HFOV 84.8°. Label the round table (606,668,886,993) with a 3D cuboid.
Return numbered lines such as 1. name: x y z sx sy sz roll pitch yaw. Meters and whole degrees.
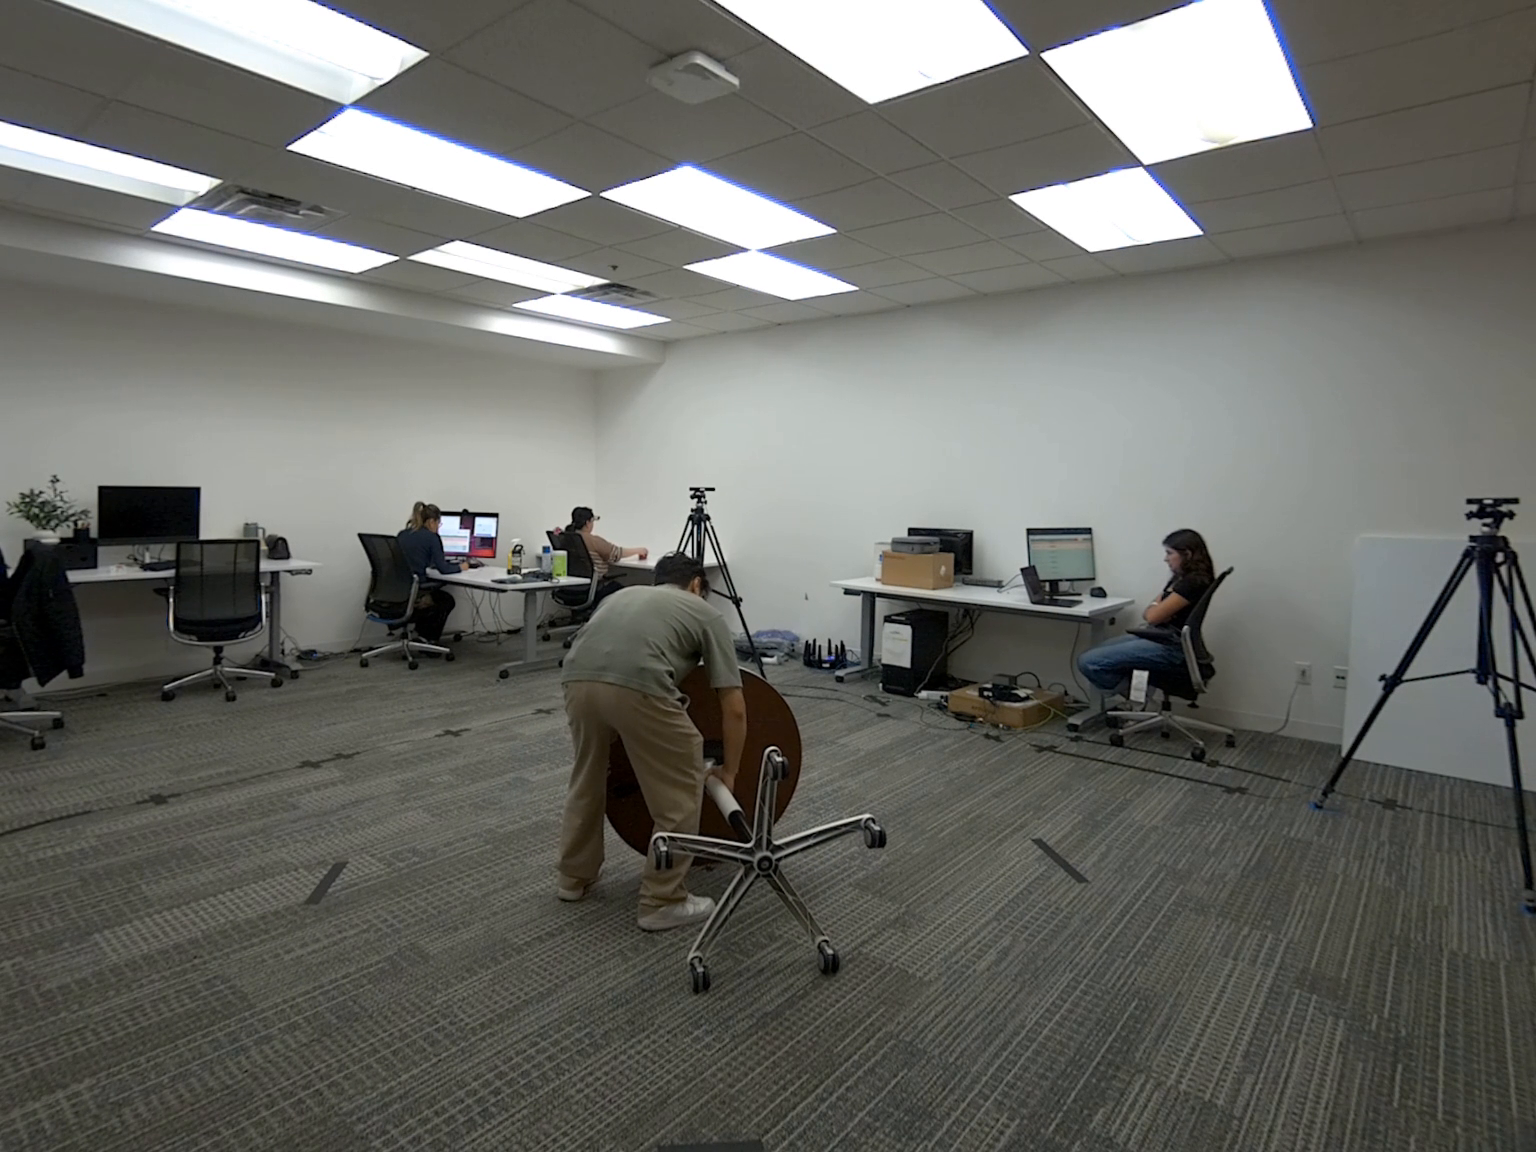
1. round table: -0.121 0.768 2.720 0.772 0.778 0.807 0 10 -17
